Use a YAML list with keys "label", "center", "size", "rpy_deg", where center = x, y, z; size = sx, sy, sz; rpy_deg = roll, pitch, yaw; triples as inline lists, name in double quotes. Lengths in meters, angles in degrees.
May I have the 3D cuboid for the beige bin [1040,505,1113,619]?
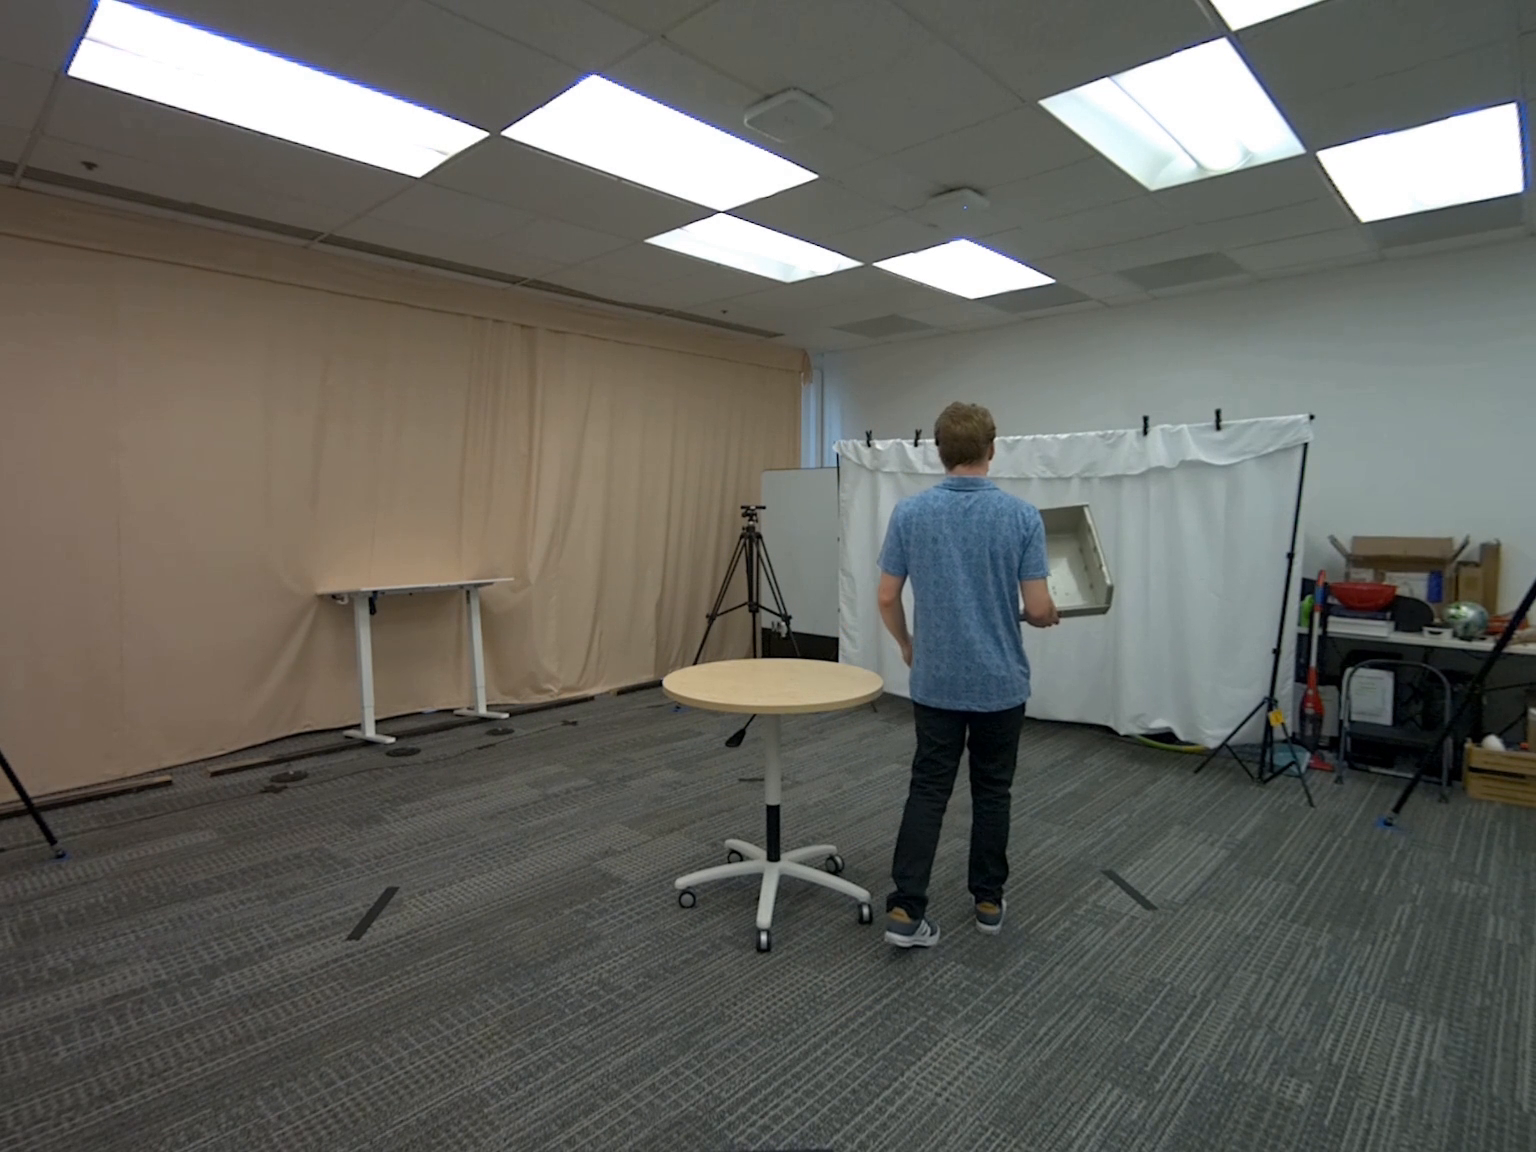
- label: "beige bin"
  center: [0.968, -0.033, 2.992]
  size: [0.426, 0.384, 0.184]
  rpy_deg: [-6, -34, 9]
